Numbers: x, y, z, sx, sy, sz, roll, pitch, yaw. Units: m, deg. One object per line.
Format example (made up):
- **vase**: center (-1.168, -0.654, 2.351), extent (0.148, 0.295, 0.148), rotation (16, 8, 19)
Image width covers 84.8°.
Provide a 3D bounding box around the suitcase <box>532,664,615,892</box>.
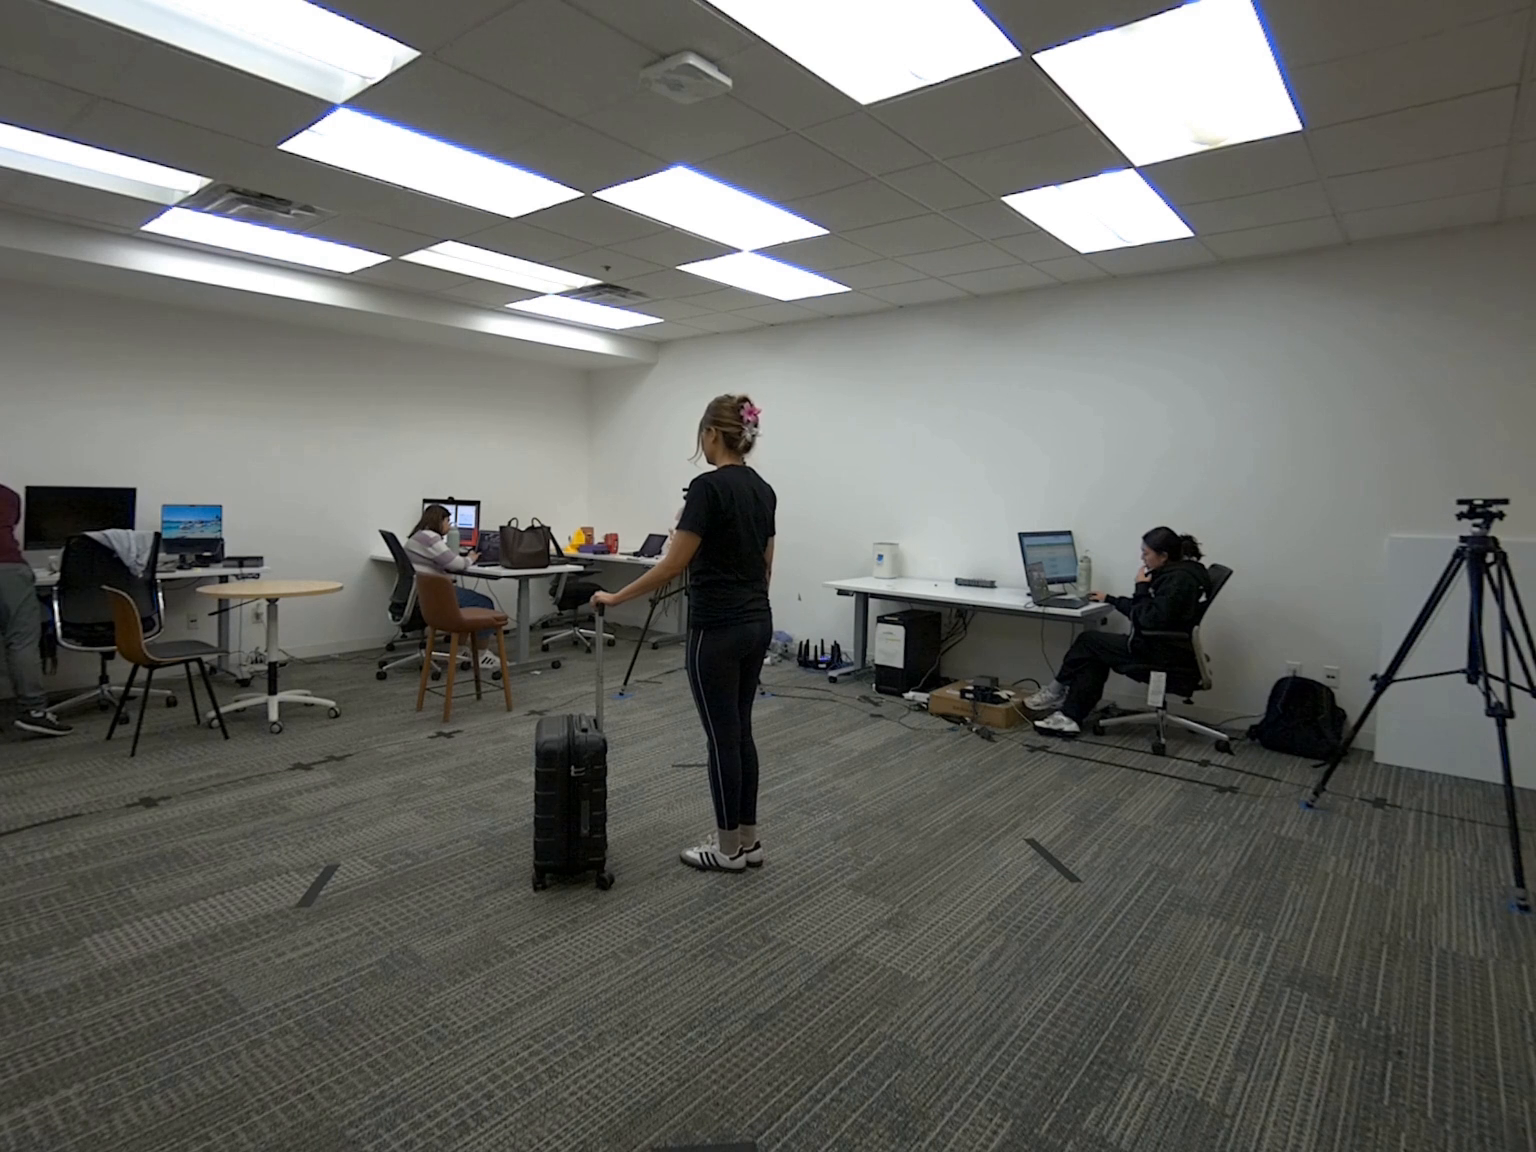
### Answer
- **suitcase**: center (-0.730, 0.591, 3.060), extent (0.254, 0.976, 0.389), rotation (-3, 3, -11)
